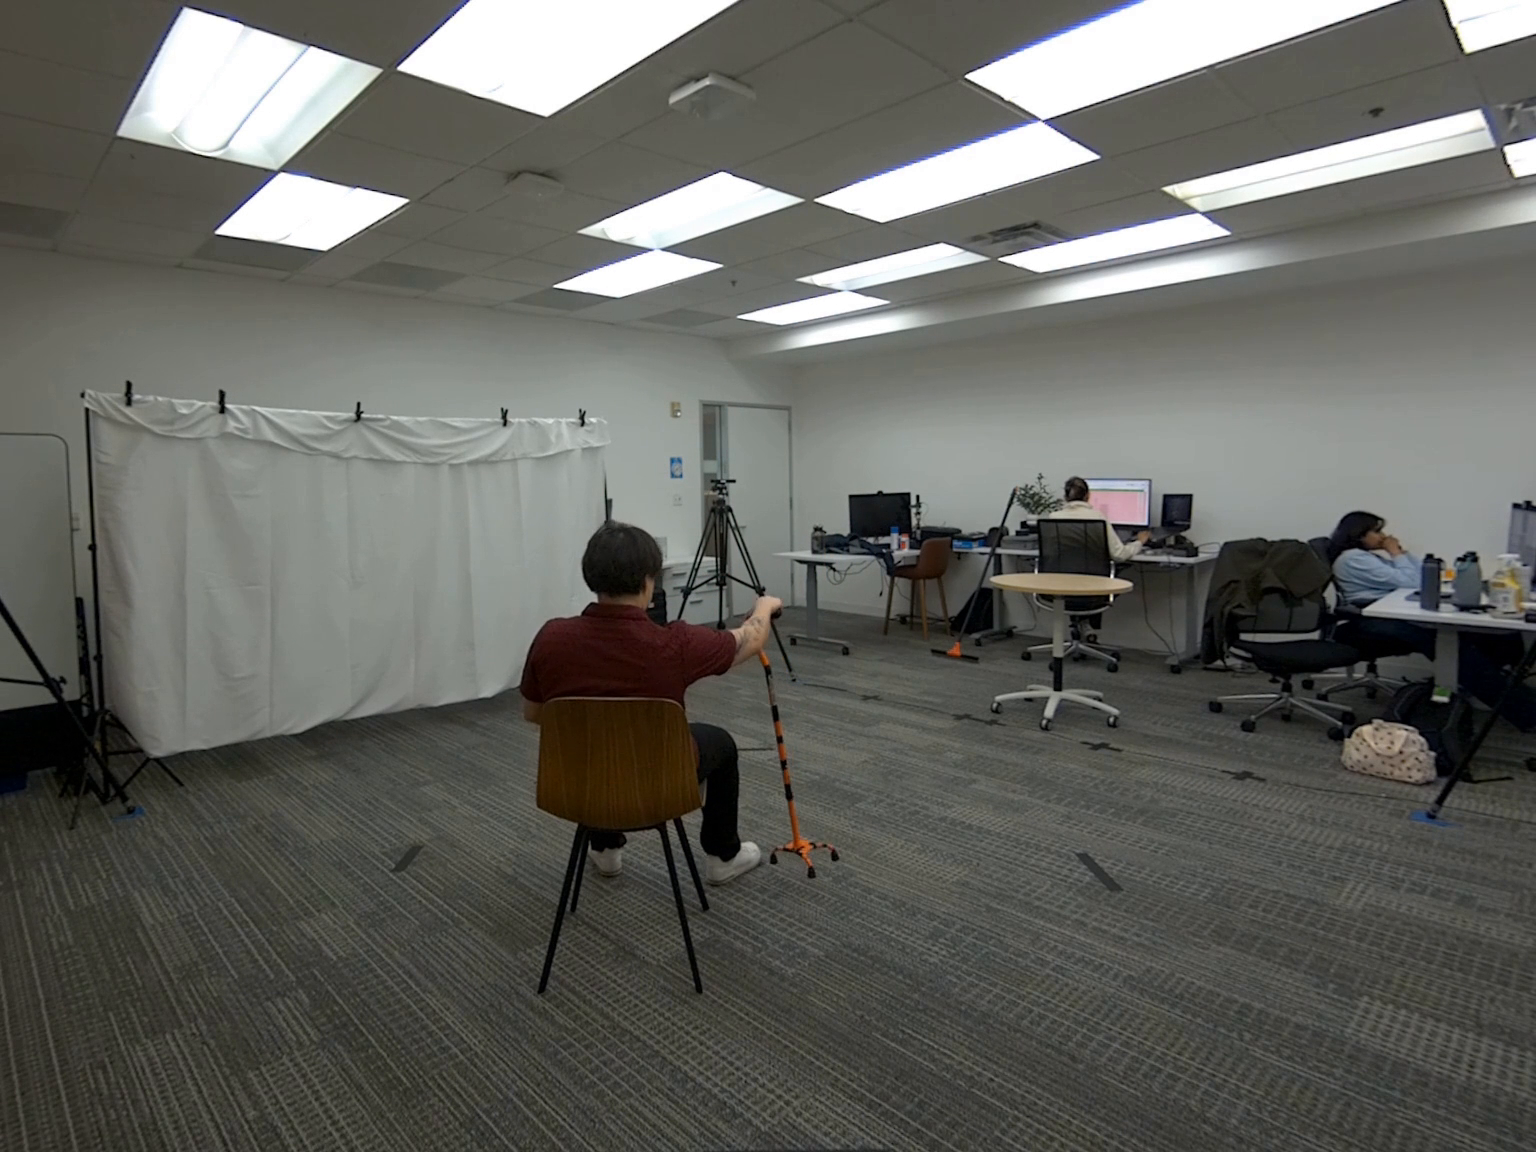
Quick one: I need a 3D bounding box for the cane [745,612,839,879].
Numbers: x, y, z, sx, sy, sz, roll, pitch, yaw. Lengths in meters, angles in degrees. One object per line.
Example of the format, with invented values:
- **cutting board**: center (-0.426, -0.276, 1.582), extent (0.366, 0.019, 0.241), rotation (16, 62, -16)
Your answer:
- **cane**: center (0.052, 0.546, 2.897), extent (0.148, 0.902, 0.212), rotation (-14, 8, -42)
